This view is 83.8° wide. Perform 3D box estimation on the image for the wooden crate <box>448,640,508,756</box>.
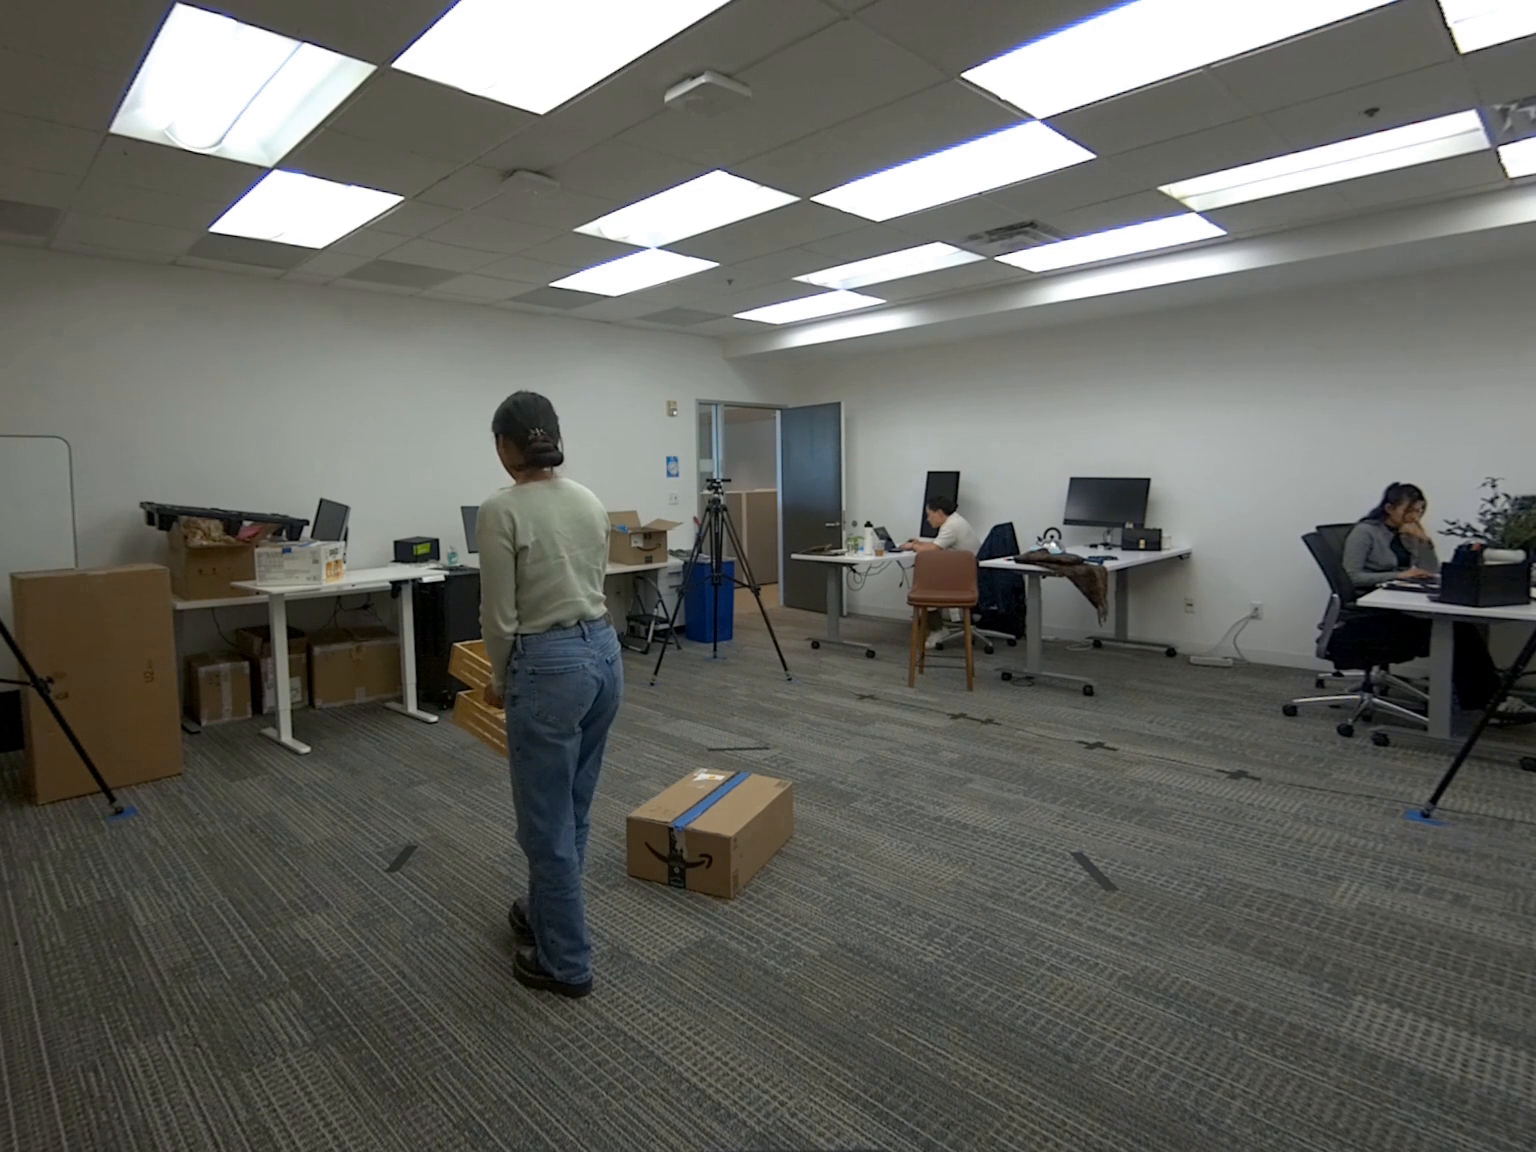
[{"bbox_3d":[-0.769,0.362,2.617,0.335,0.271,0.294,21,12,32],"label":"wooden crate"}]
